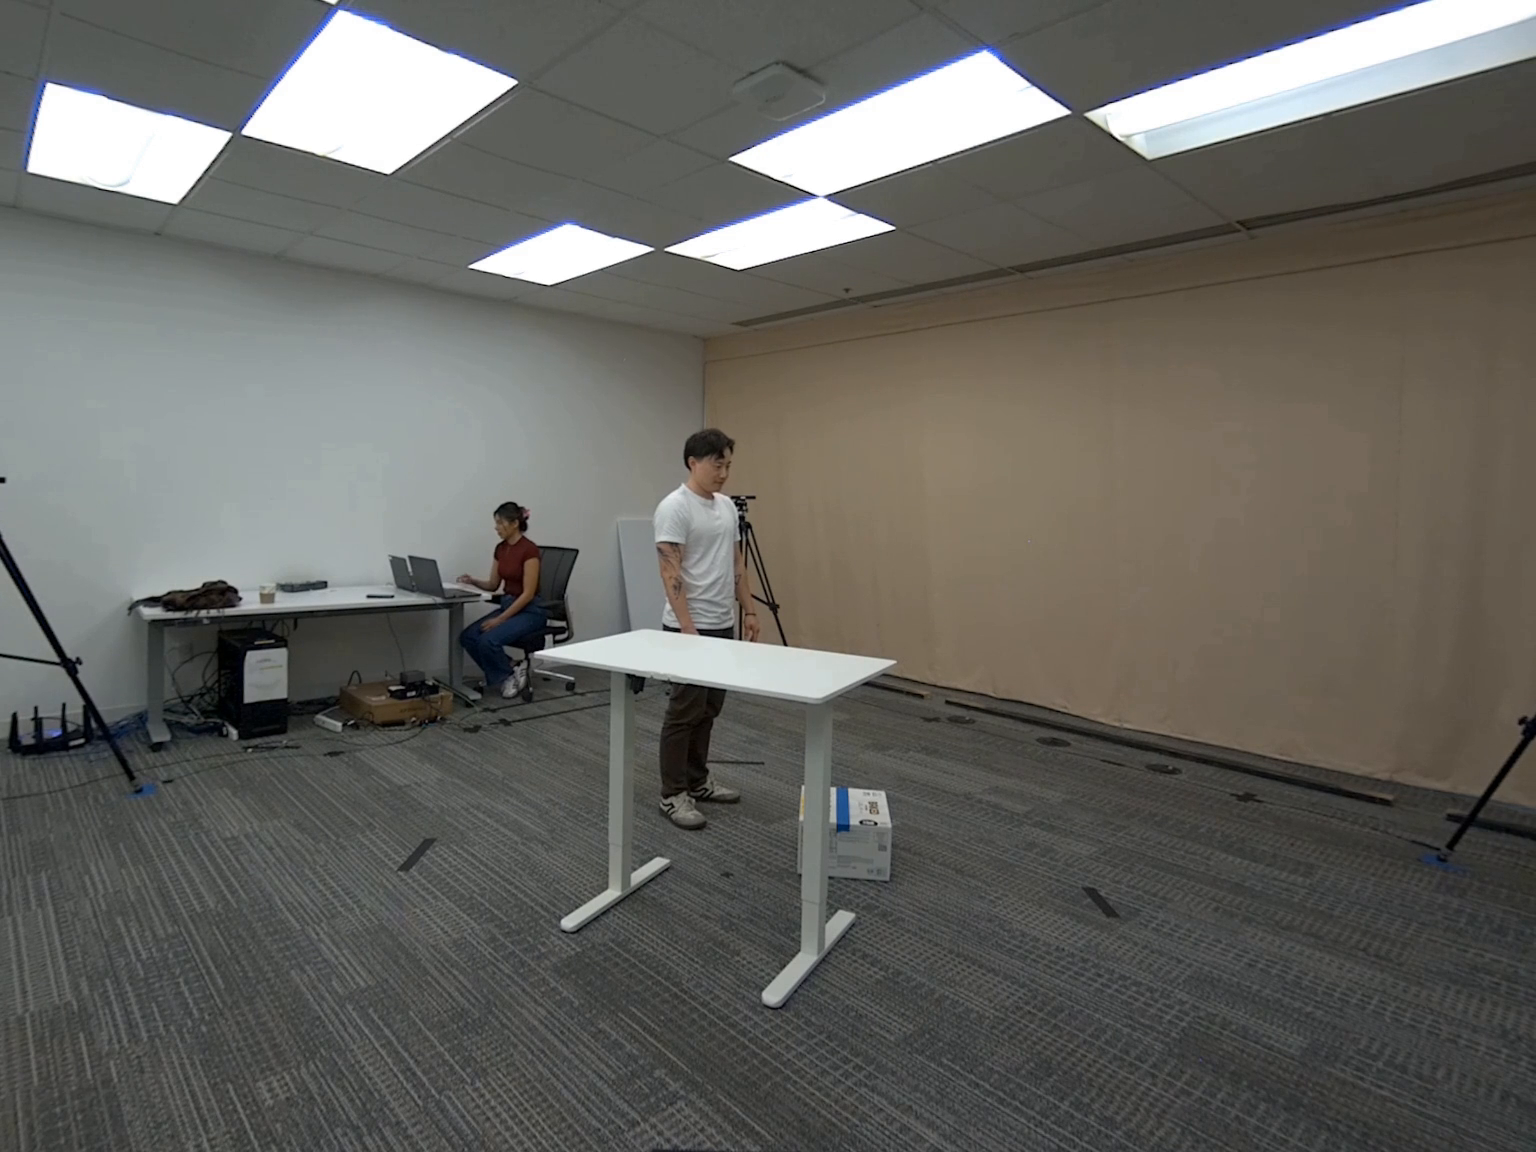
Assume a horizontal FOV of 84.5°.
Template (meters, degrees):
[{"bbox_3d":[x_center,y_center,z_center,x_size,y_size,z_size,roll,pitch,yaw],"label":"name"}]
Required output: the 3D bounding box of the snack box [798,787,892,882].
[{"bbox_3d":[0.289,0.993,3.282,0.342,0.205,0.404,1,4,5],"label":"snack box"}]
